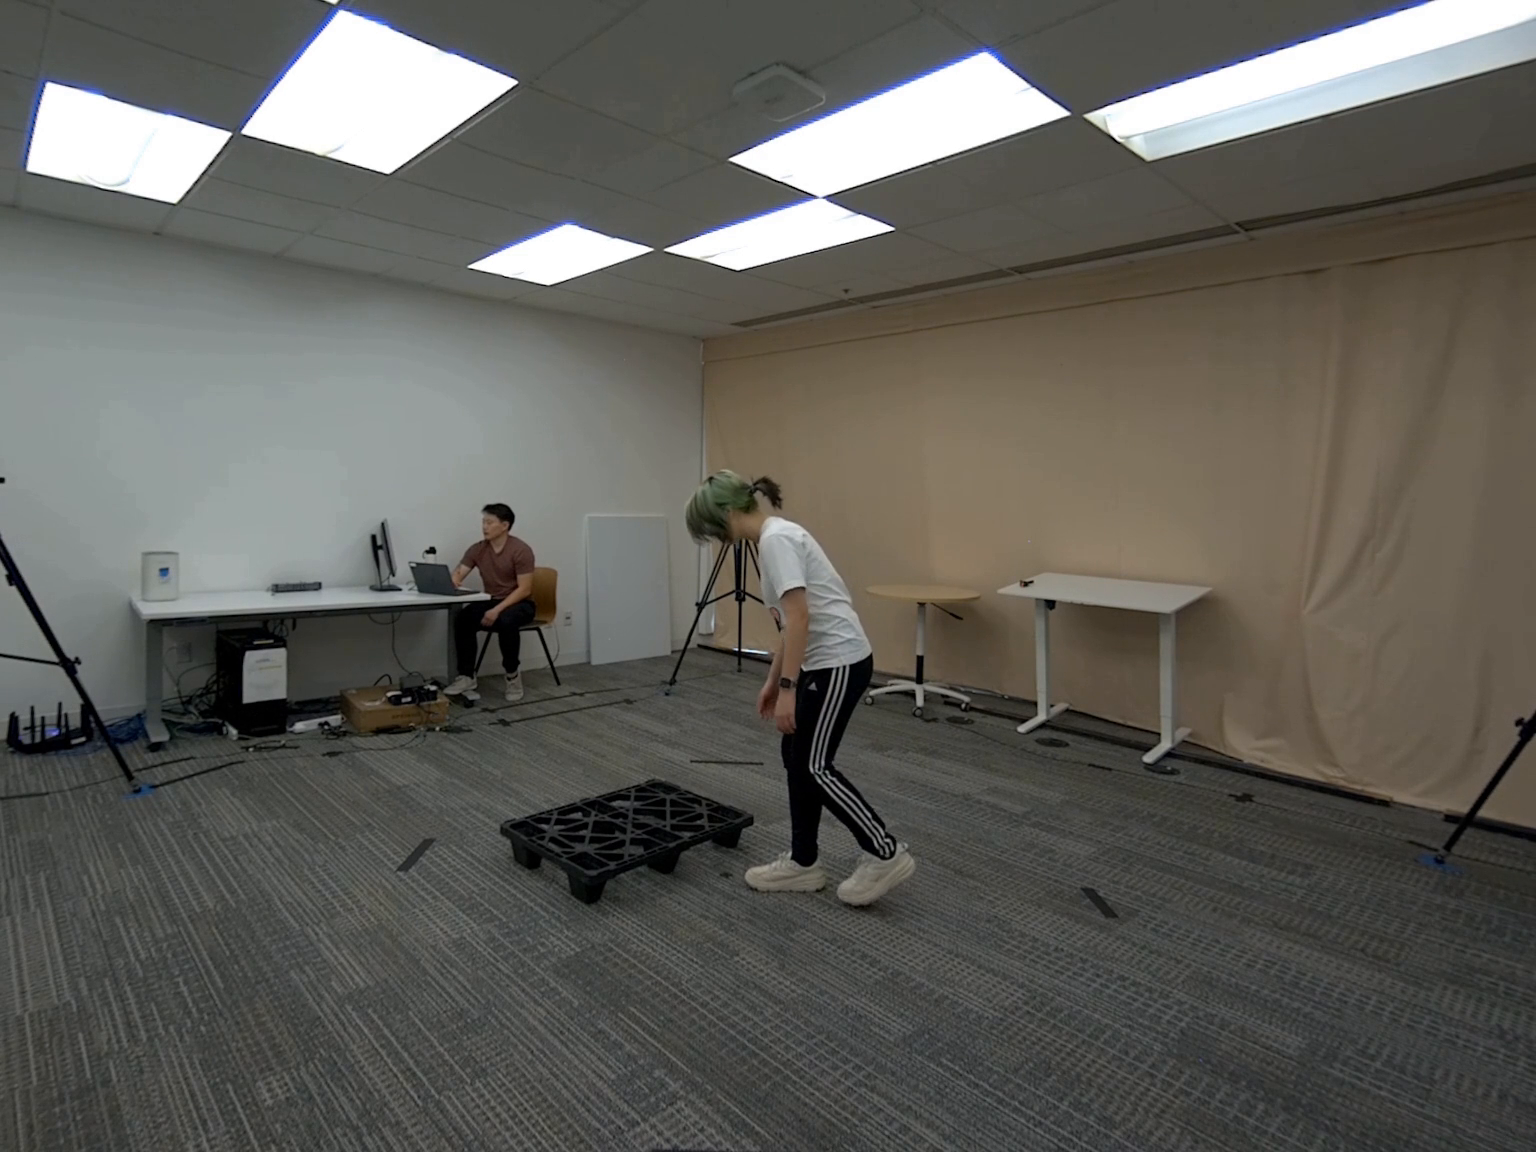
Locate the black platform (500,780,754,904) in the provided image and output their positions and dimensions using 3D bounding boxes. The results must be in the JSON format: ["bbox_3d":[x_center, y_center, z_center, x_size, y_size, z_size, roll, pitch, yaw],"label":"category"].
[{"bbox_3d":[-0.538,1.014,3.275,0.621,0.143,0.787,7,8,43],"label":"black platform"}]
